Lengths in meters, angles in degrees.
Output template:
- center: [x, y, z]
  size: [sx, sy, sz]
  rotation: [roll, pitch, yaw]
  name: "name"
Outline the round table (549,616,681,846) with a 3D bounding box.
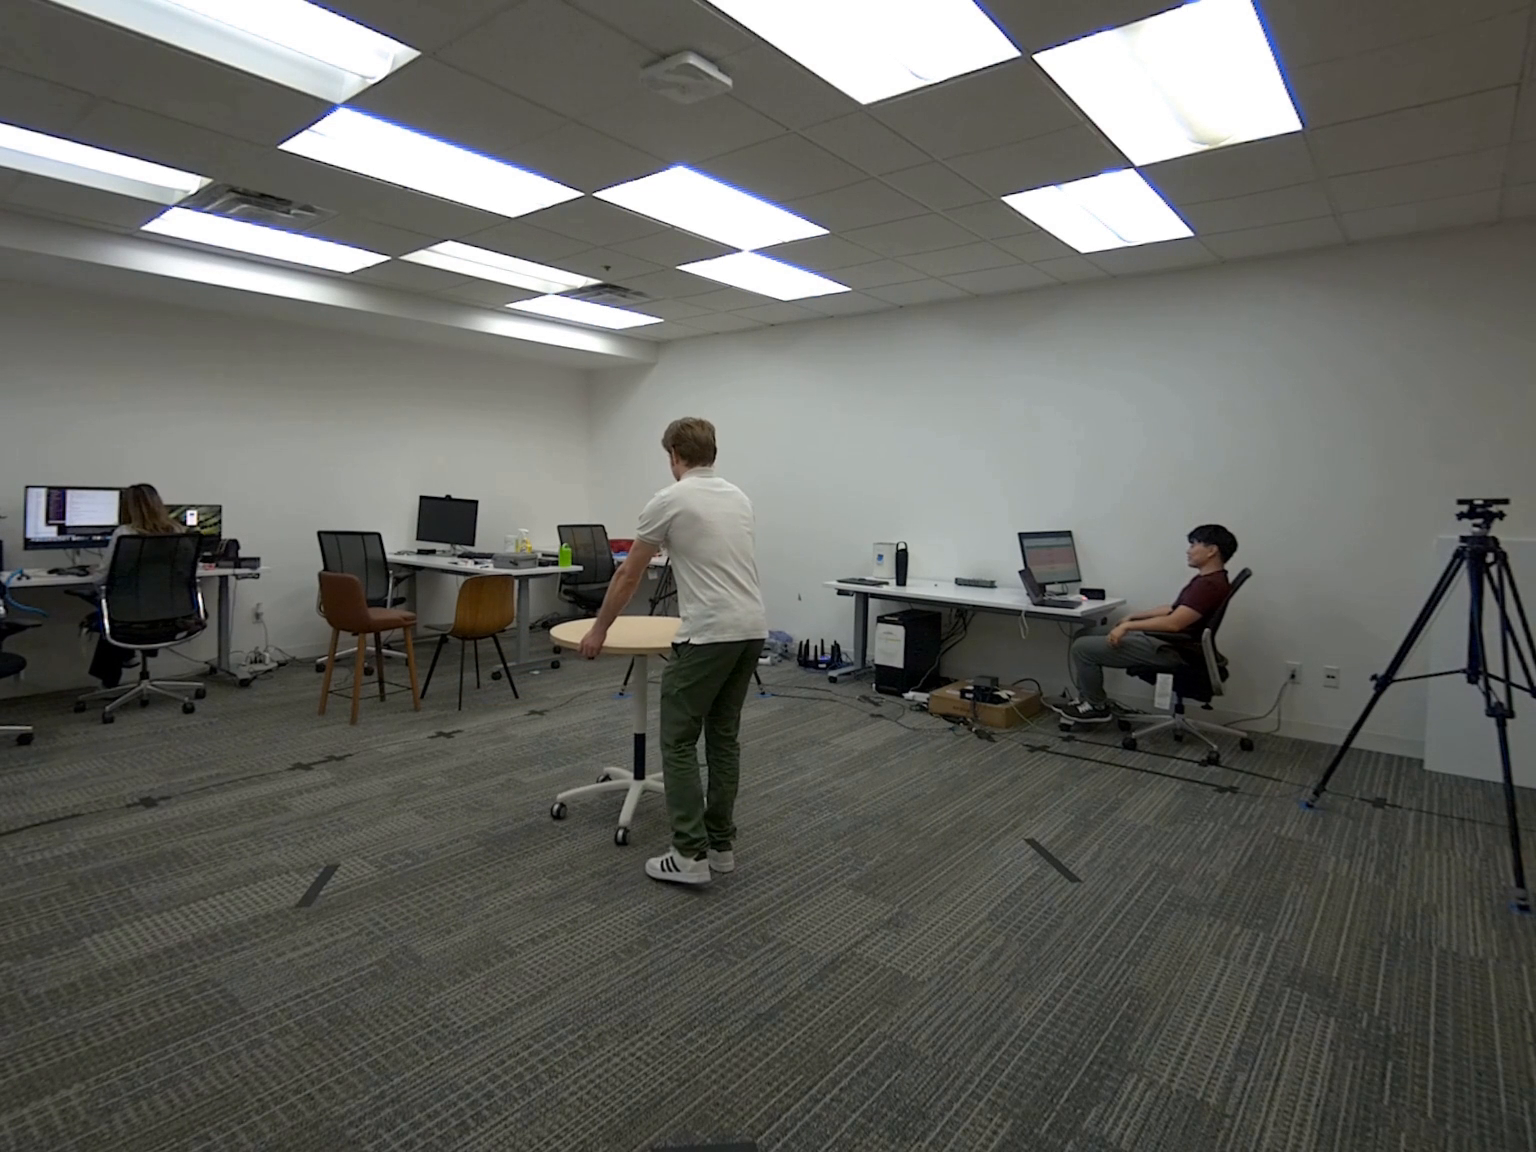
- center: [-0.561, 0.624, 3.646]
  size: [0.763, 0.791, 0.768]
  rotation: [1, 4, -2]
  name: "round table"
